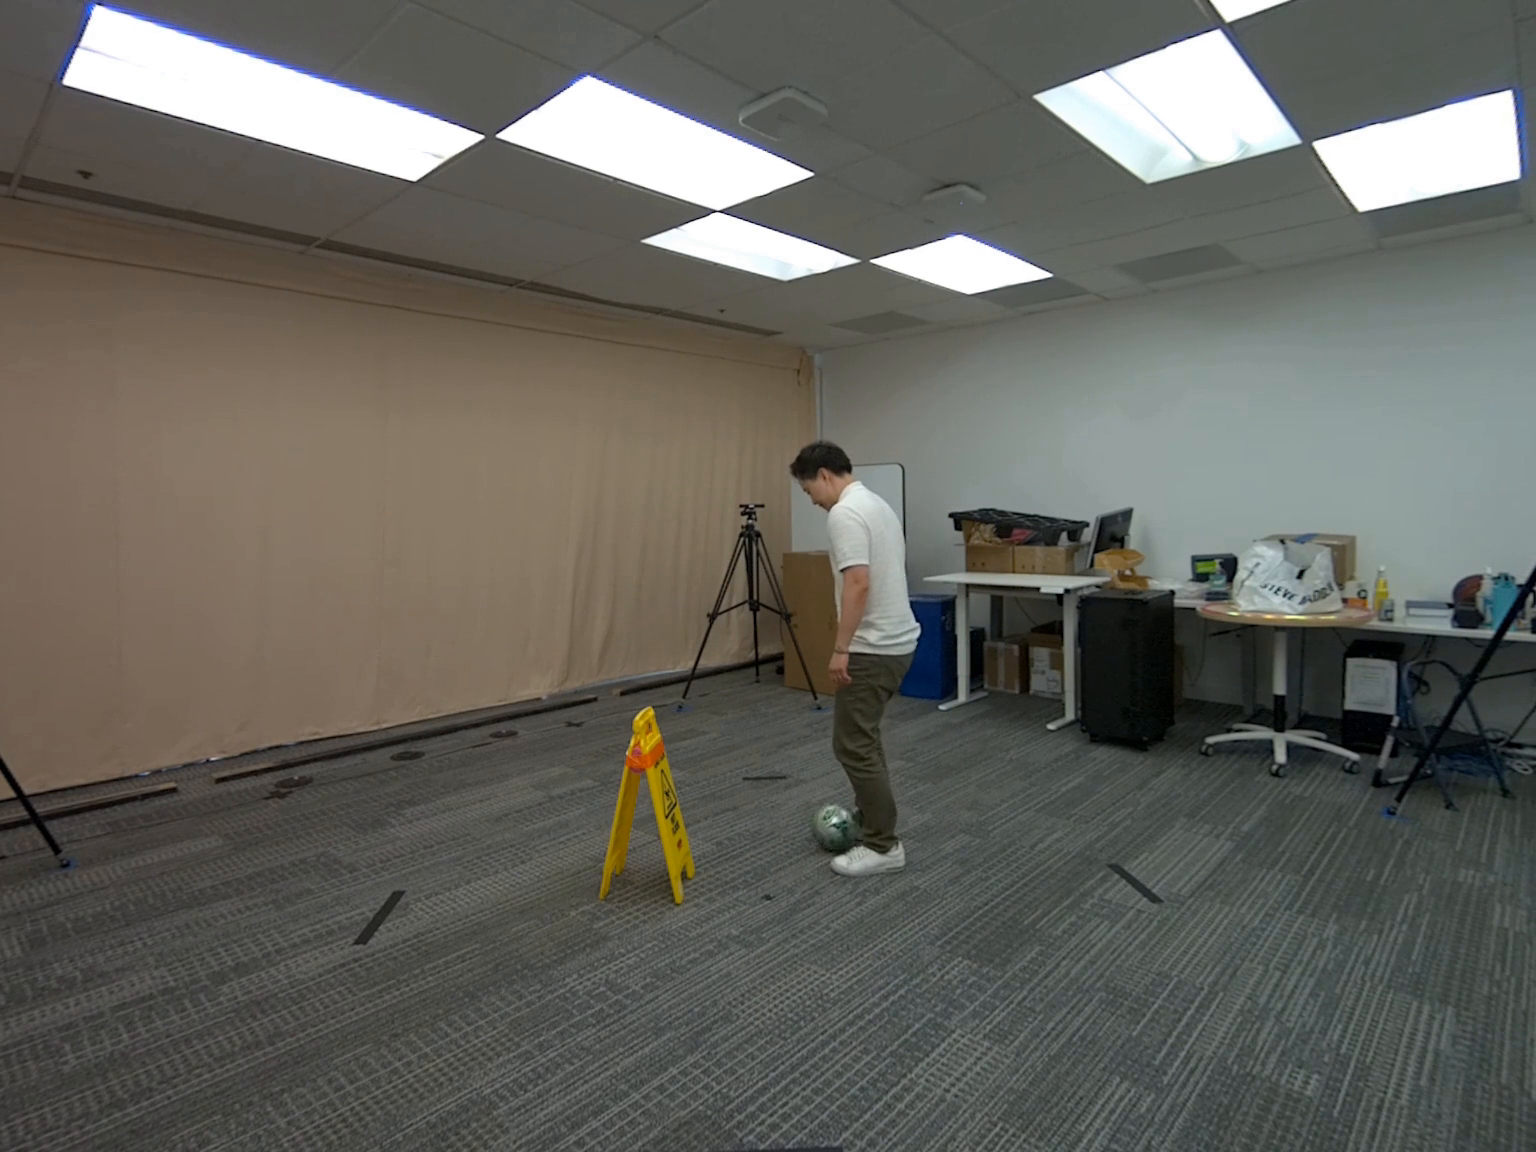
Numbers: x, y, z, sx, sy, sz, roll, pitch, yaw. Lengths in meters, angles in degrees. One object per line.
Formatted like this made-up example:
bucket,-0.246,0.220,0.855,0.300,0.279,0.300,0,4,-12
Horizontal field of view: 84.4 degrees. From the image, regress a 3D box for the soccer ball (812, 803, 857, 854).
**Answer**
soccer ball,0.271,1.008,3.386,0.187,0.187,0.188,-1,4,-2
